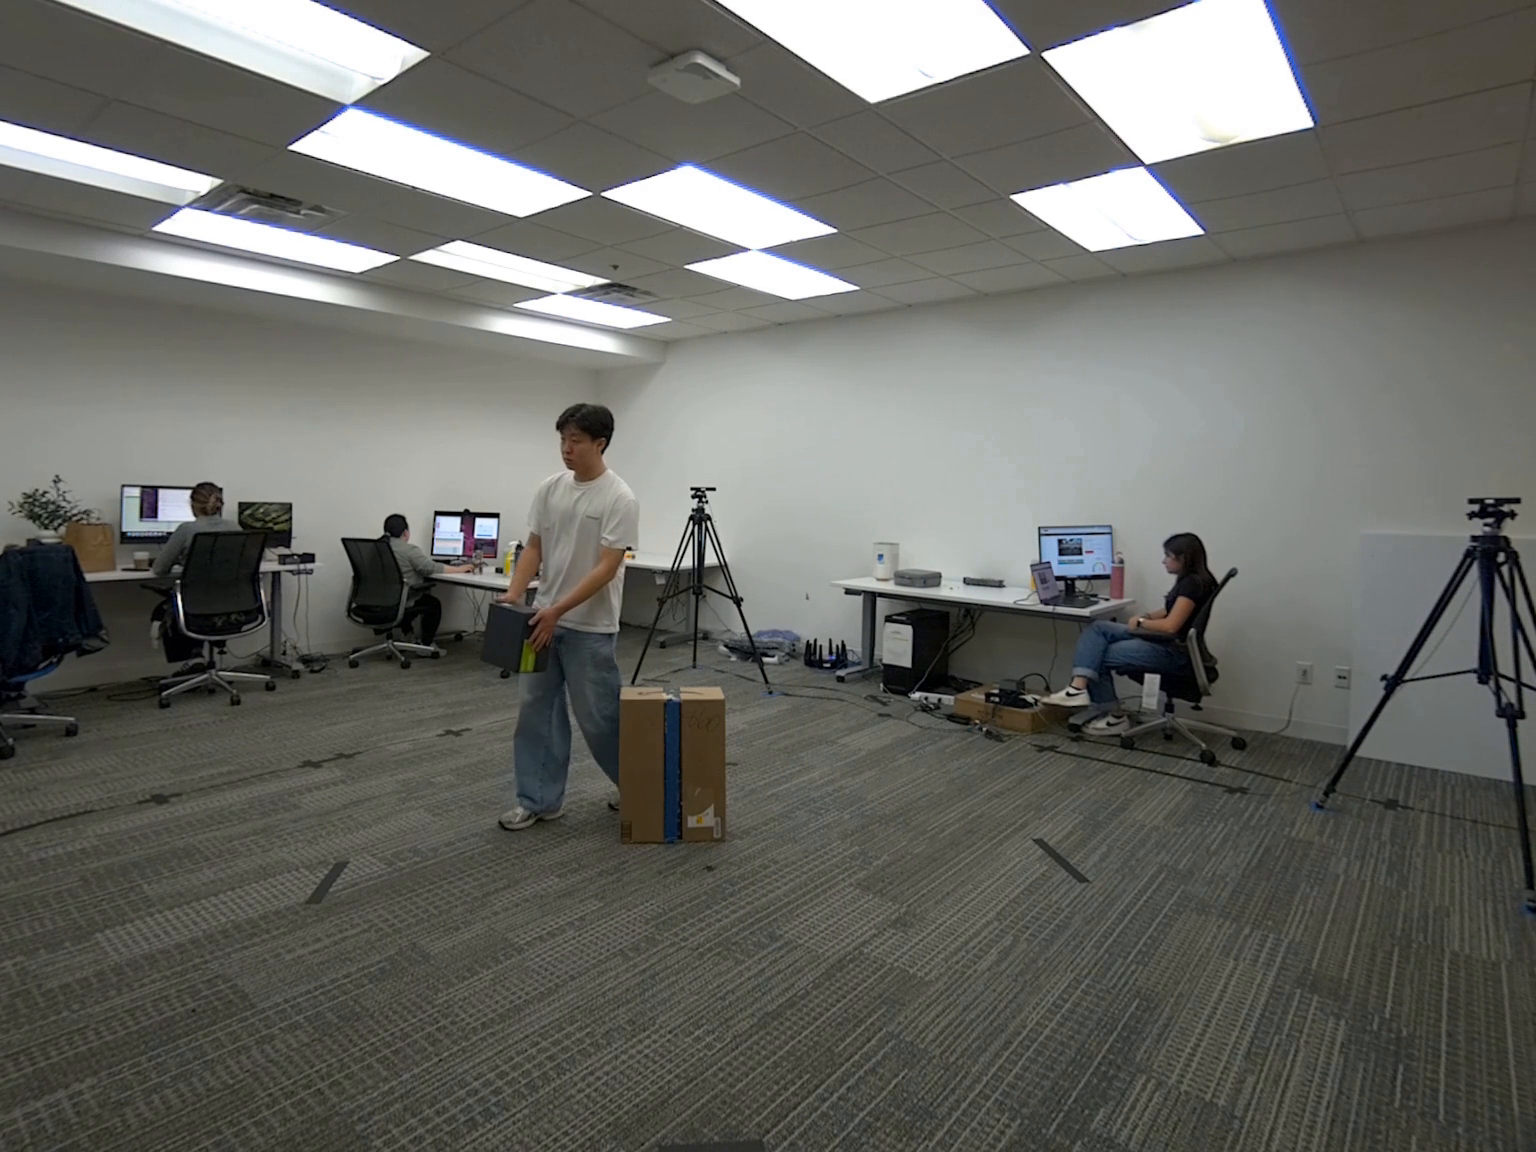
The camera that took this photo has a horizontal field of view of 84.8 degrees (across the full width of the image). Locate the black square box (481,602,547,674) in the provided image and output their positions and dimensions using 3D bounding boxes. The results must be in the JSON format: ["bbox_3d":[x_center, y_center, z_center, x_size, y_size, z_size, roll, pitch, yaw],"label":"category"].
[{"bbox_3d":[-1.000,0.233,3.296,0.225,0.227,0.151,12,4,35],"label":"black square box"}]
